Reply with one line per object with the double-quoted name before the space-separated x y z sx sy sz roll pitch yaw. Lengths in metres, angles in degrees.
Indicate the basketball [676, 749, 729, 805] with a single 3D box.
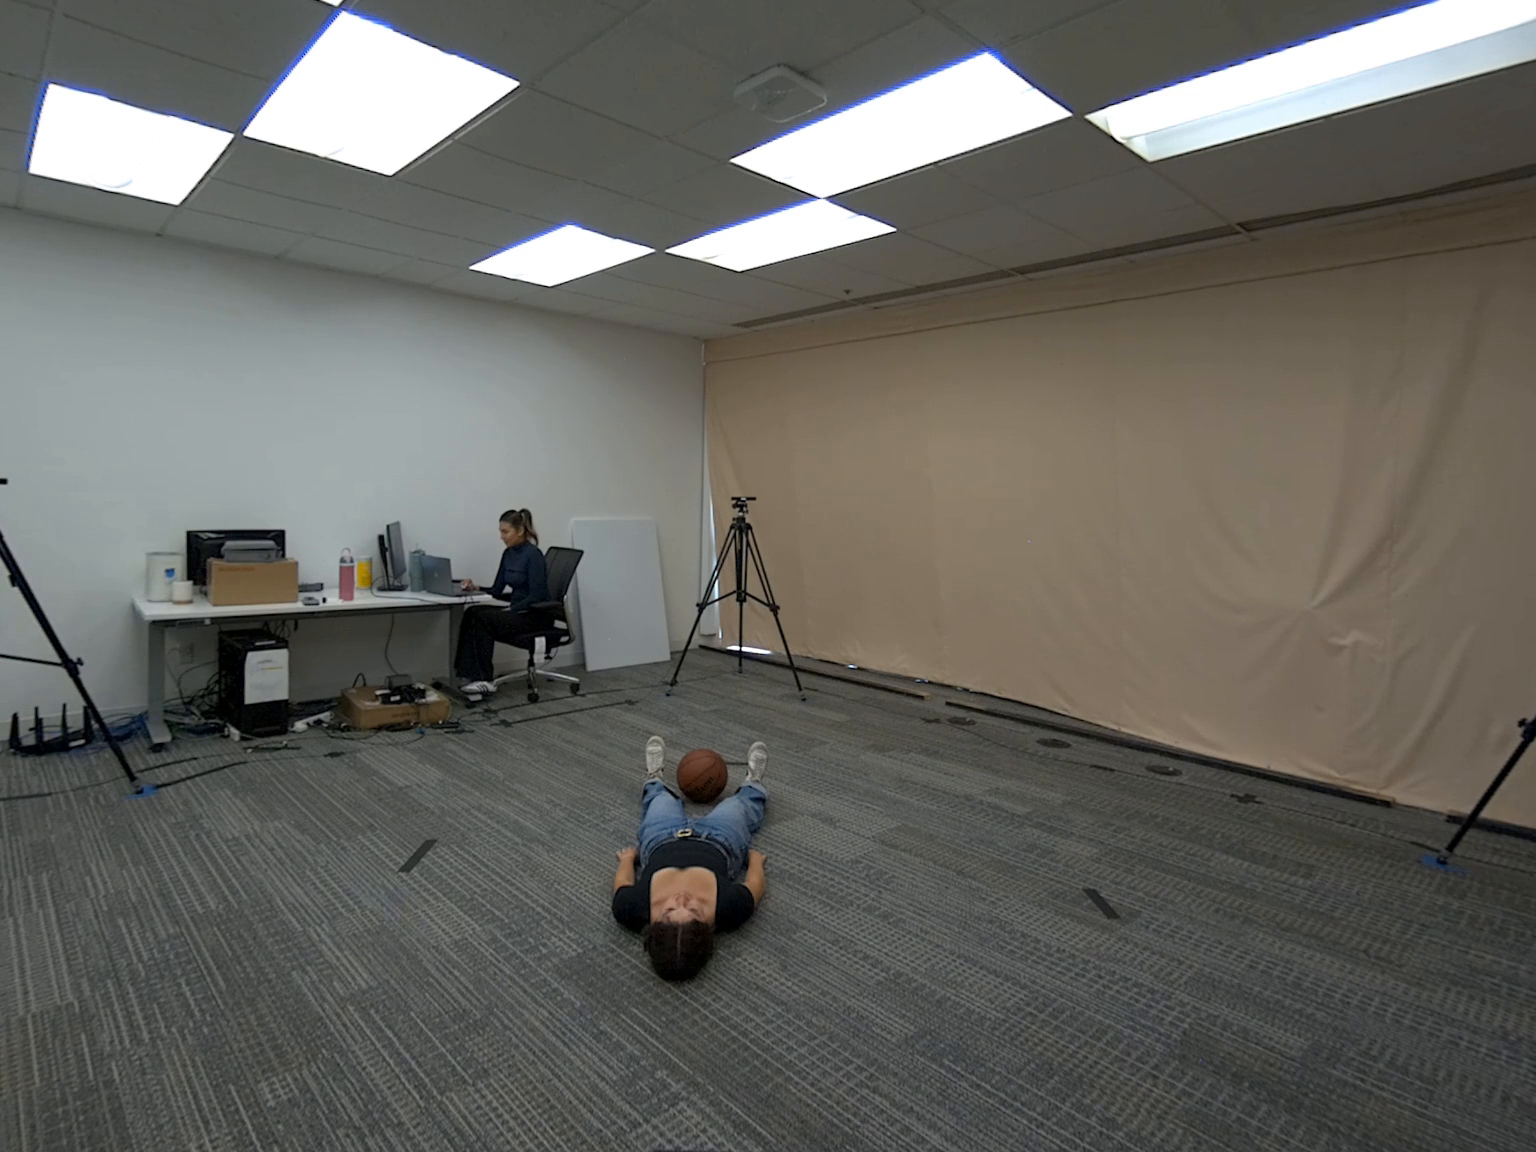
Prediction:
"basketball" -0.311 0.913 3.877 0.236 0.235 0.237 1 4 -1
